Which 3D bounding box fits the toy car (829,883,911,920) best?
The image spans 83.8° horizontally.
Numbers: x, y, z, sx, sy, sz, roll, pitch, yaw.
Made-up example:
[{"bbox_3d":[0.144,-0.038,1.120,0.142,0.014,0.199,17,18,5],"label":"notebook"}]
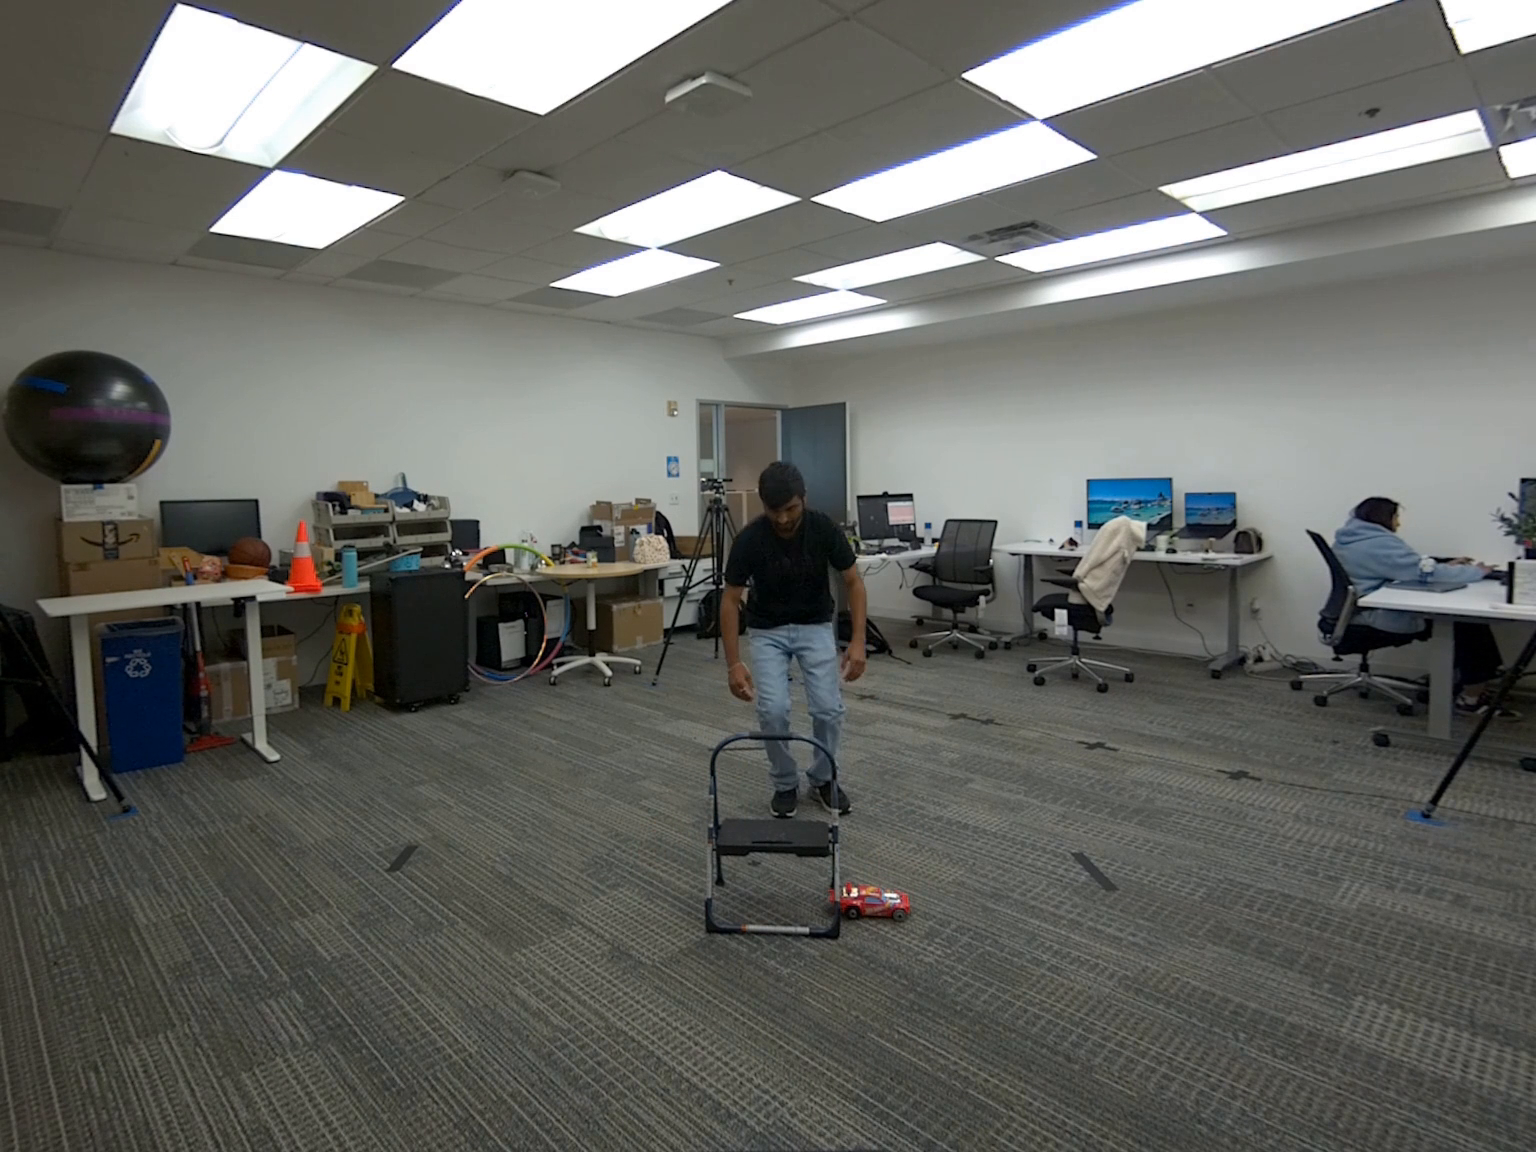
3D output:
[{"bbox_3d":[0.335,1.064,2.730,0.257,0.083,0.129,14,6,7],"label":"toy car"}]
